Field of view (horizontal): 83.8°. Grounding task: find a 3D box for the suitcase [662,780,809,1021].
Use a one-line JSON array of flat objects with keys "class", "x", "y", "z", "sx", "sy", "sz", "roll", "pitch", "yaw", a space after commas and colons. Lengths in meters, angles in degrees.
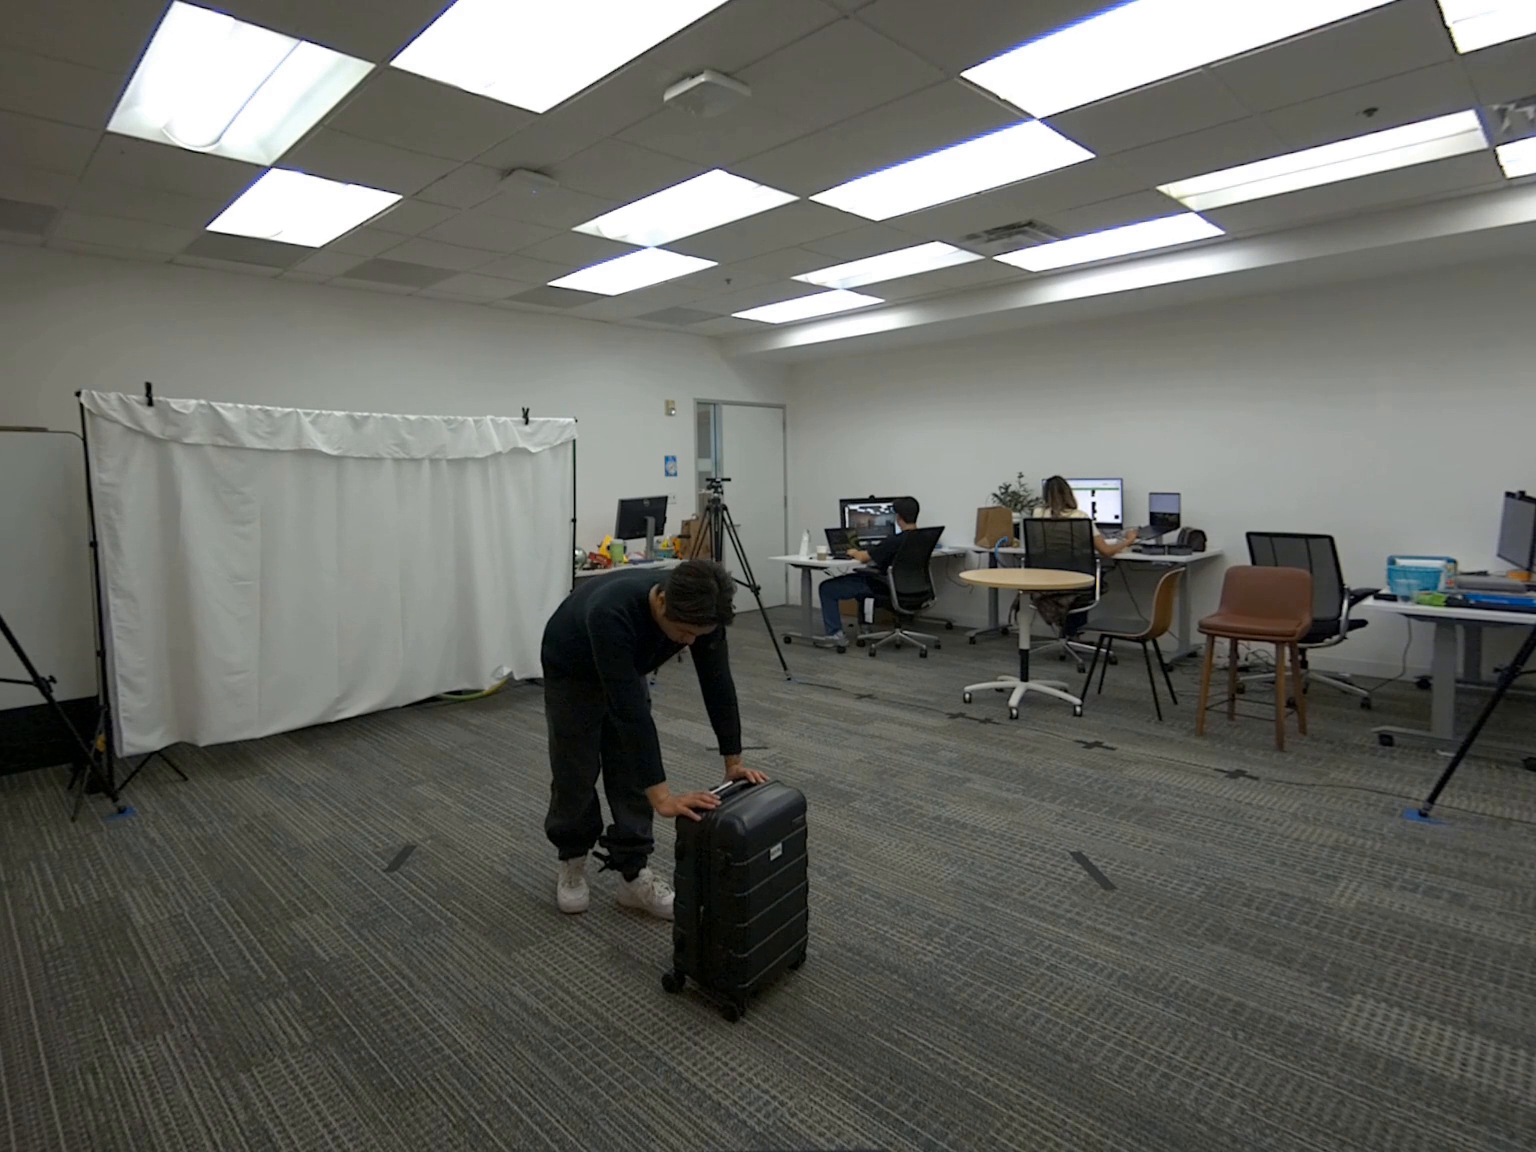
[{"class": "suitcase", "x": -0.069, "y": 0.856, "z": 2.367, "sx": 0.256, "sy": 0.547, "sz": 0.366, "roll": 4, "pitch": 6, "yaw": 37}]
